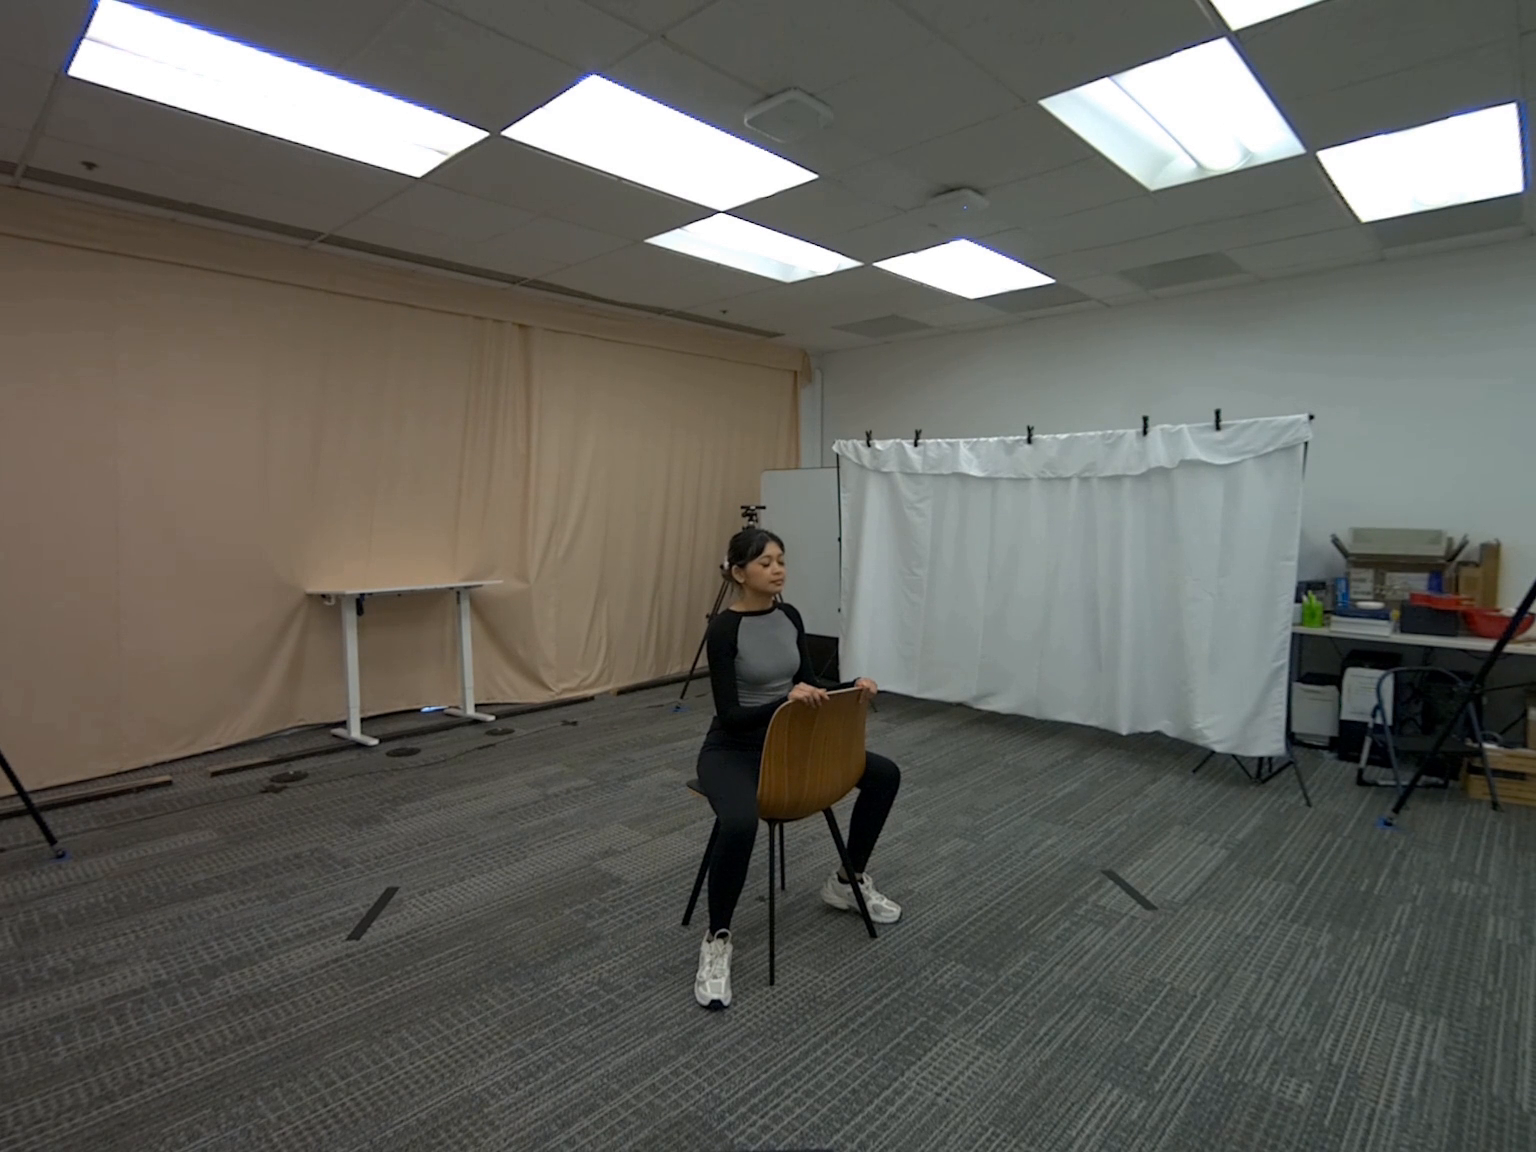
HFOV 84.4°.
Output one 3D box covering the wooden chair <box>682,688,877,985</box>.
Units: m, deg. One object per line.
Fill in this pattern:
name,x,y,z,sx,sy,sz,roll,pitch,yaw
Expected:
wooden chair,0.027,0.741,2.734,0.464,0.874,0.541,-2,9,-39
